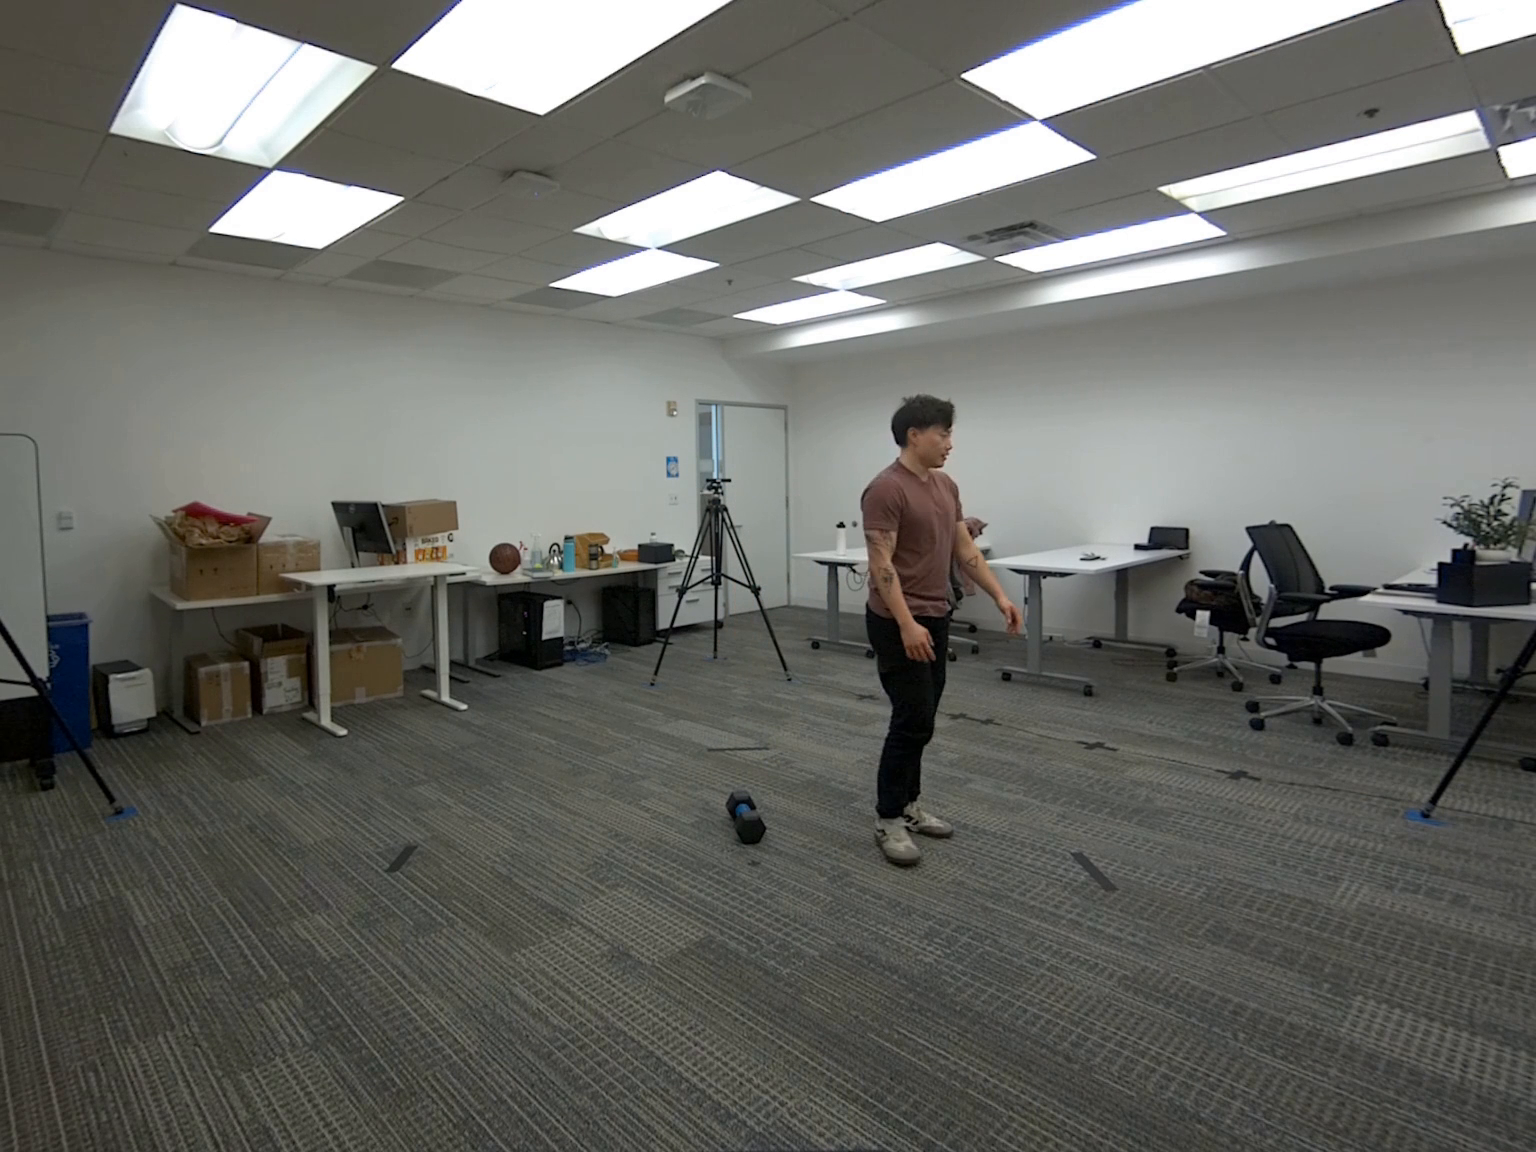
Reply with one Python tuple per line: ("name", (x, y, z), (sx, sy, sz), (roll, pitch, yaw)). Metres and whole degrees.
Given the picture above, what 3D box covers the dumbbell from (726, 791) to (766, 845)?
("dumbbell", (-0.091, 0.961, 3.404), (0.108, 0.121, 0.297), (-32, 10, -6))
